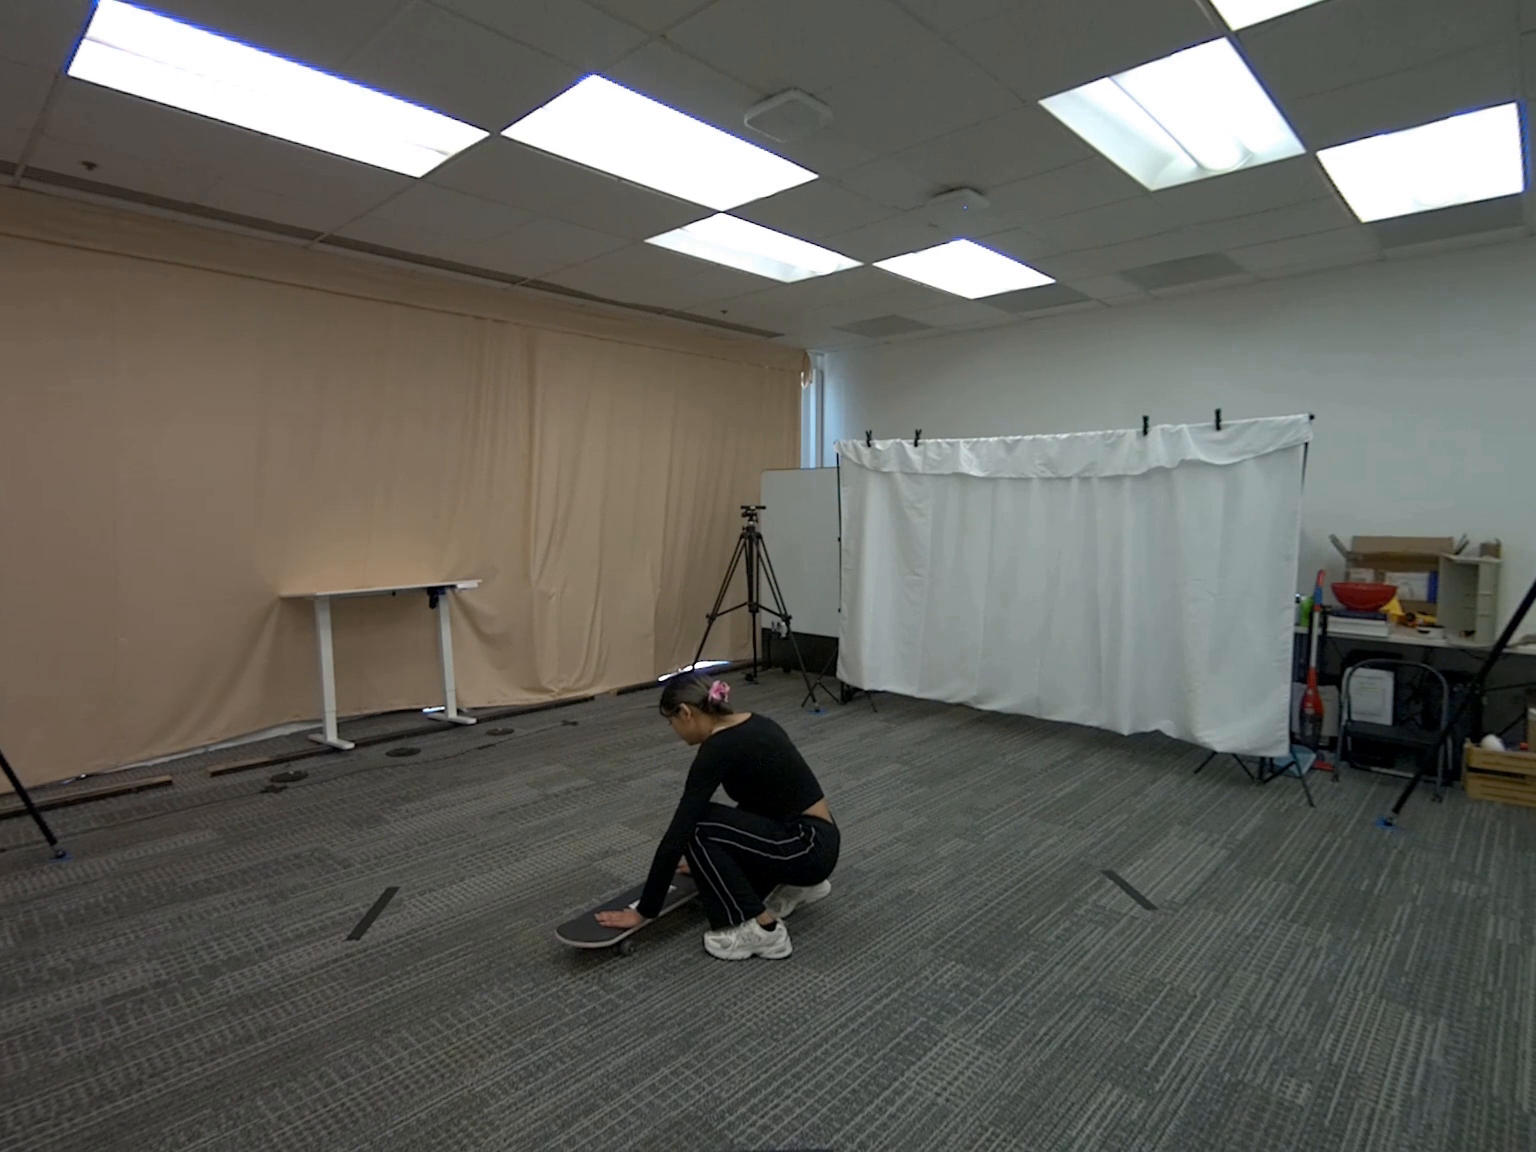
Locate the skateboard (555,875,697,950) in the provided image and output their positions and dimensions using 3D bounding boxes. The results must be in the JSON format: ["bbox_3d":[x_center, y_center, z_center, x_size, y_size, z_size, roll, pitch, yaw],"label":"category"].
[{"bbox_3d":[-0.380,1.100,2.826,0.200,0.110,0.763,3,6,36],"label":"skateboard"}]
